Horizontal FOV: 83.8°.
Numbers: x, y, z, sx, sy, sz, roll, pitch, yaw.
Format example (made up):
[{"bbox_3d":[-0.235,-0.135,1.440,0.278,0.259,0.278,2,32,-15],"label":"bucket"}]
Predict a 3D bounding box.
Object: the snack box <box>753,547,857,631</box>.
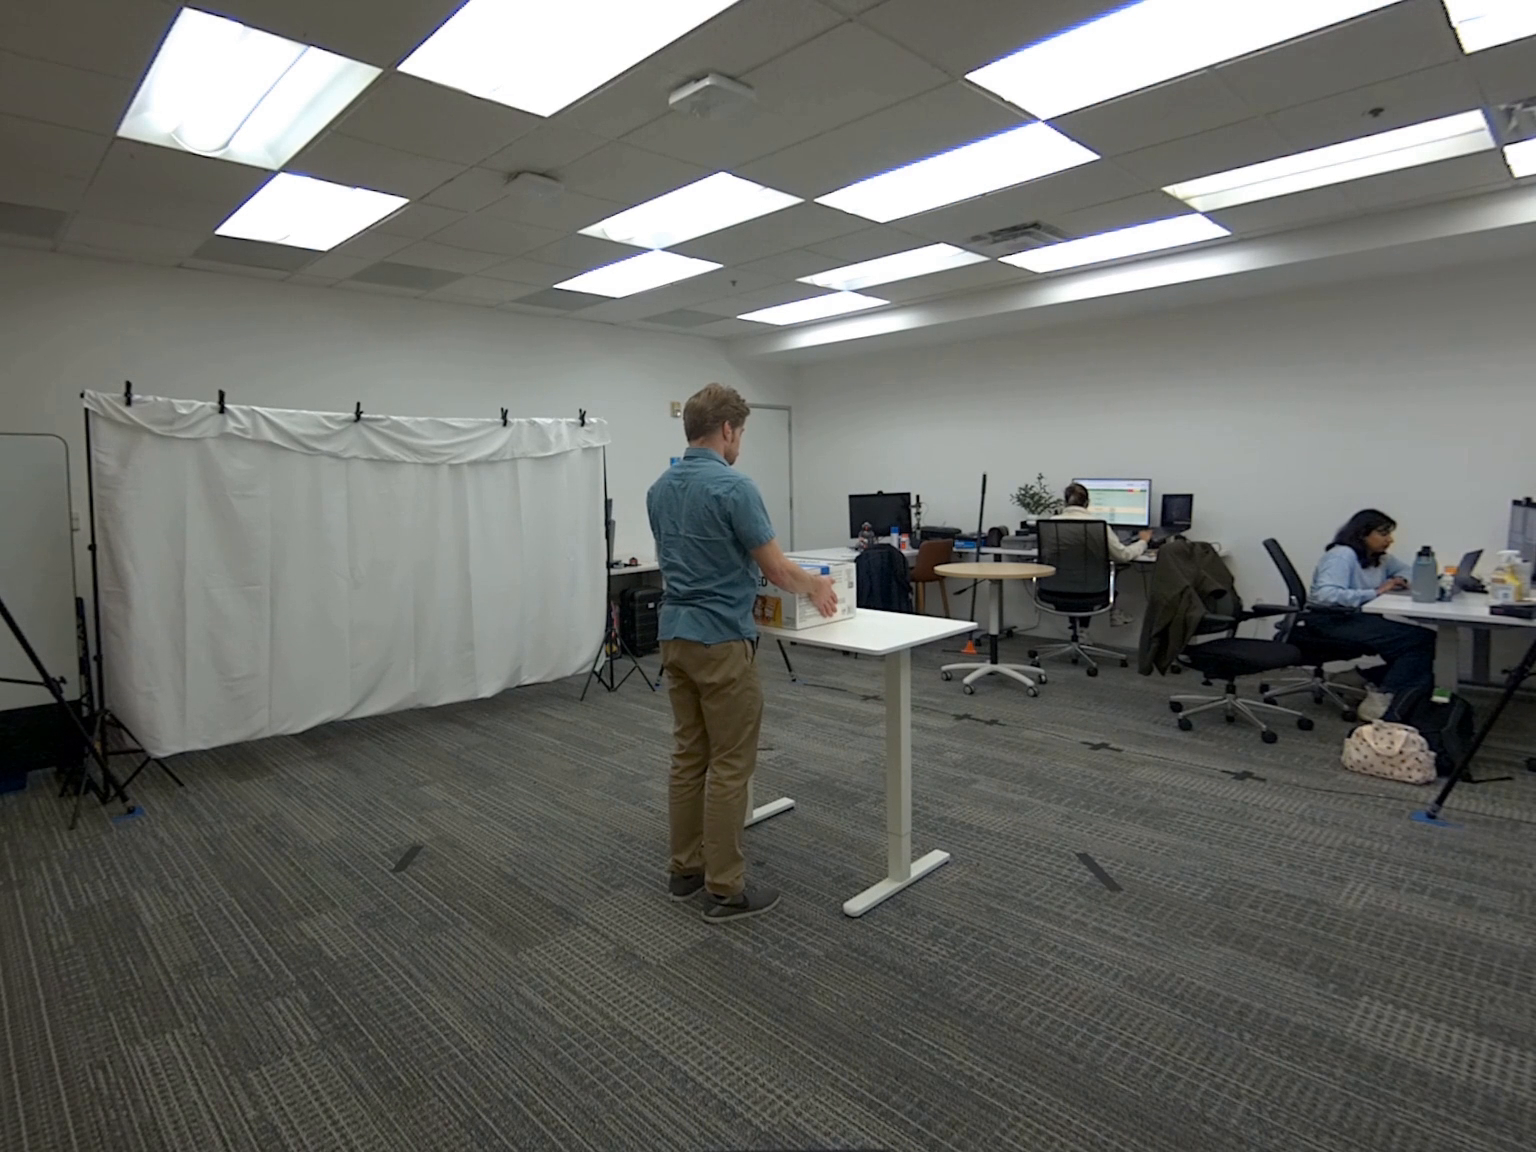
[{"bbox_3d":[0.062,0.053,3.158,0.418,0.204,0.332,5,9,43],"label":"snack box"}]
